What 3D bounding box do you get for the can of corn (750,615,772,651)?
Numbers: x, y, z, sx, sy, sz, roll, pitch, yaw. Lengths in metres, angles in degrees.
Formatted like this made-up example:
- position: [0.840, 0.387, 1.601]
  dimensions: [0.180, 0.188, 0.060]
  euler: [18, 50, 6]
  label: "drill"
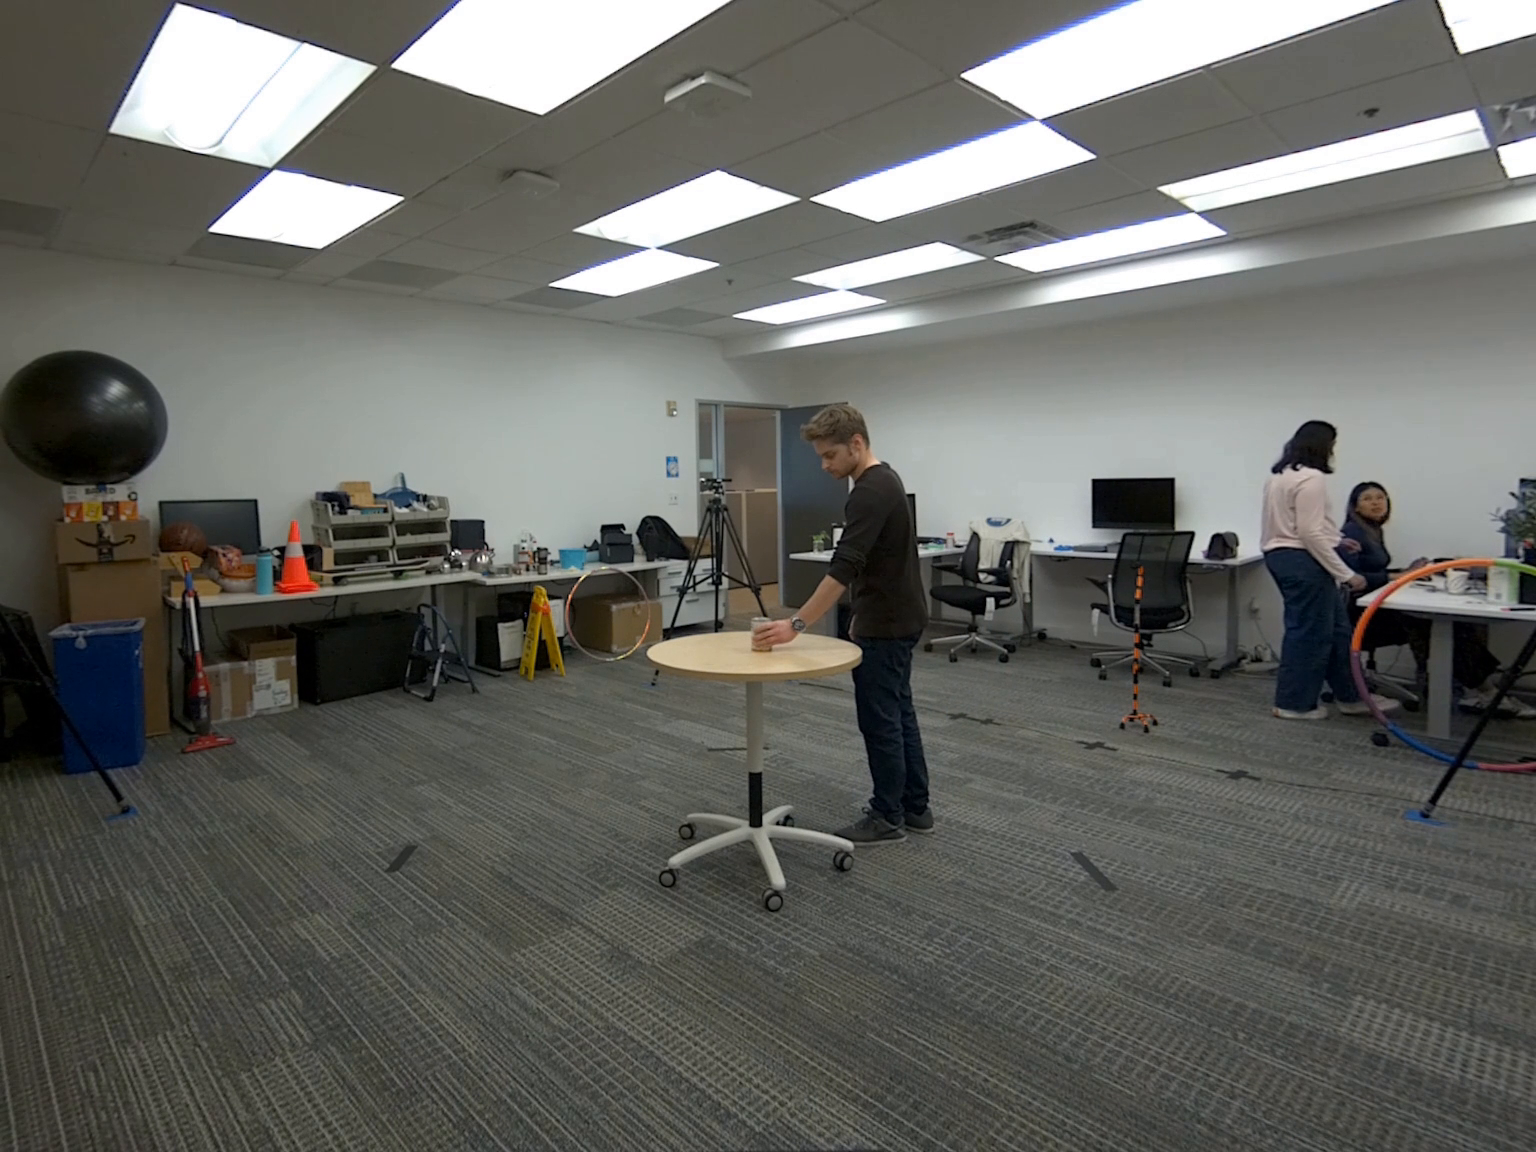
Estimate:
- position: [-0.016, 0.209, 3.059]
  dimensions: [0.074, 0.110, 0.075]
  euler: [2, 8, -2]
  label: "can of corn"
